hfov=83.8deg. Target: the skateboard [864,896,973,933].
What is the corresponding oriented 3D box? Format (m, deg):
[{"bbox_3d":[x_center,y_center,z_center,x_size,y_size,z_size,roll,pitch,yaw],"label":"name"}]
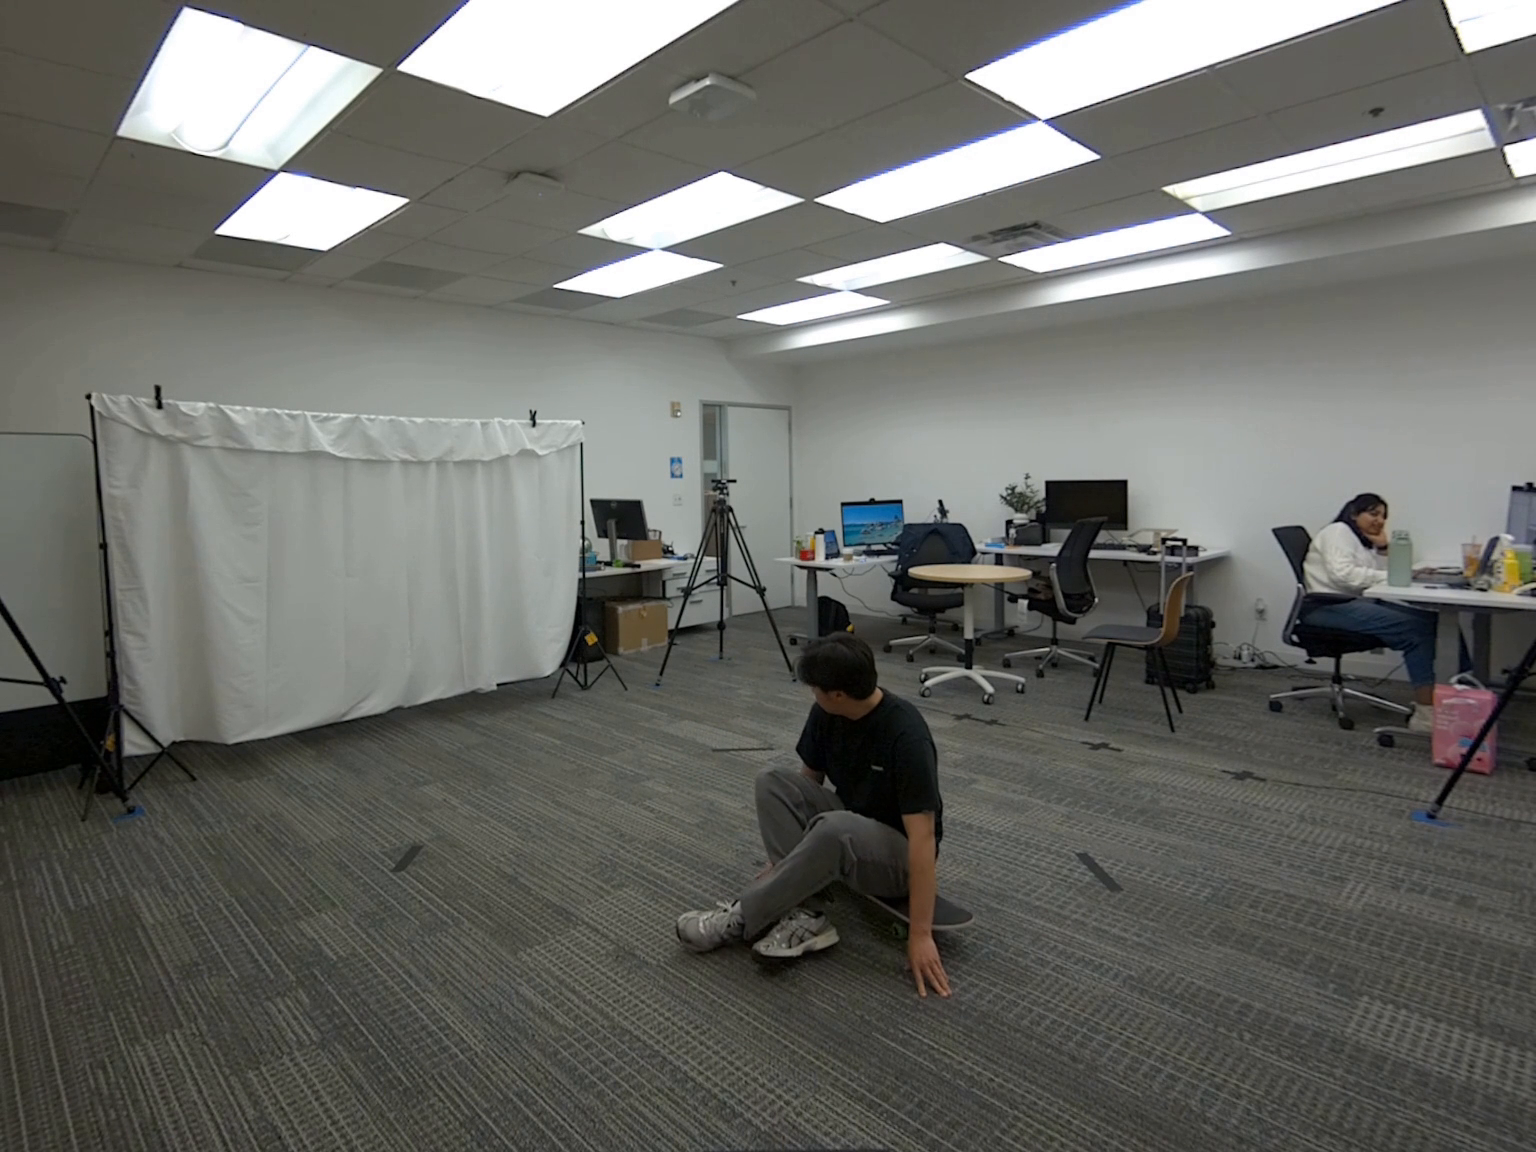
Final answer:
[{"bbox_3d":[0.352,1.020,2.794,0.189,0.110,0.808,-1,6,-31],"label":"skateboard"}]
